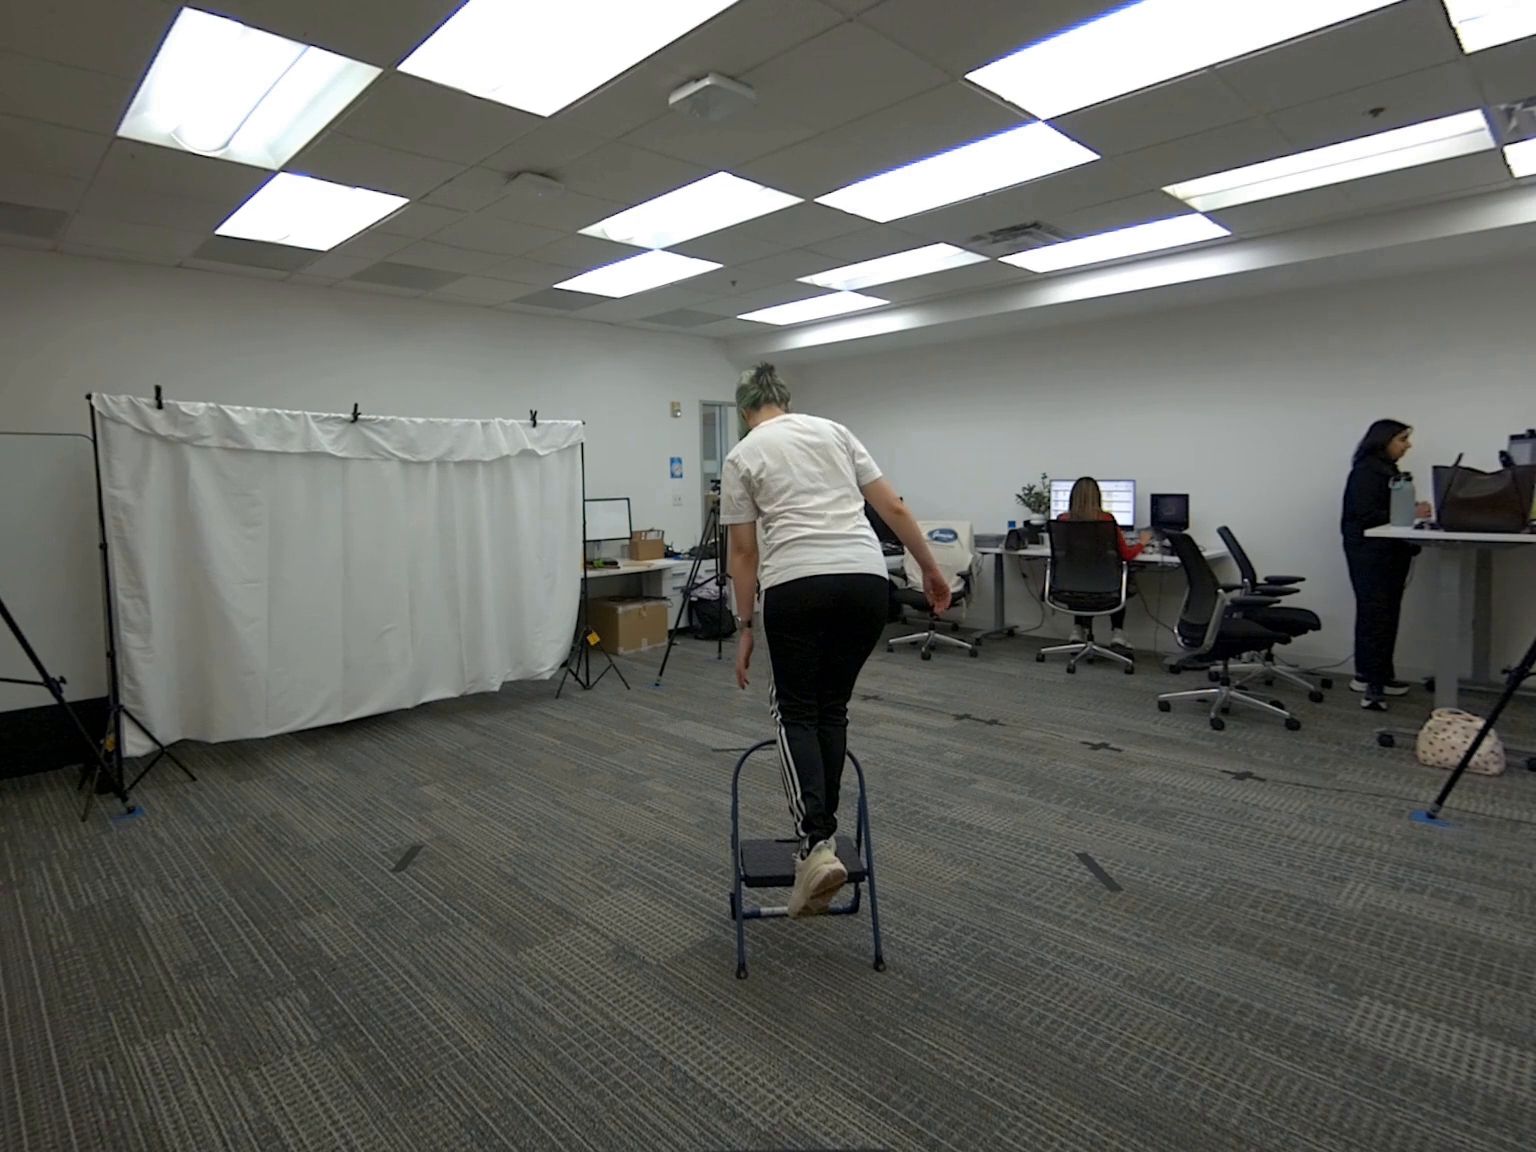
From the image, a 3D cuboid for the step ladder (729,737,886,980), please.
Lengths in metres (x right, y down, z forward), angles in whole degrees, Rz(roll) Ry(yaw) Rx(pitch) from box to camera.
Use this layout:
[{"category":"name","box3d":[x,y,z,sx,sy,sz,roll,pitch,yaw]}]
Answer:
[{"category":"step ladder","box3d":[0.103,0.813,2.564,0.429,0.604,0.352,-2,4,-5]}]
